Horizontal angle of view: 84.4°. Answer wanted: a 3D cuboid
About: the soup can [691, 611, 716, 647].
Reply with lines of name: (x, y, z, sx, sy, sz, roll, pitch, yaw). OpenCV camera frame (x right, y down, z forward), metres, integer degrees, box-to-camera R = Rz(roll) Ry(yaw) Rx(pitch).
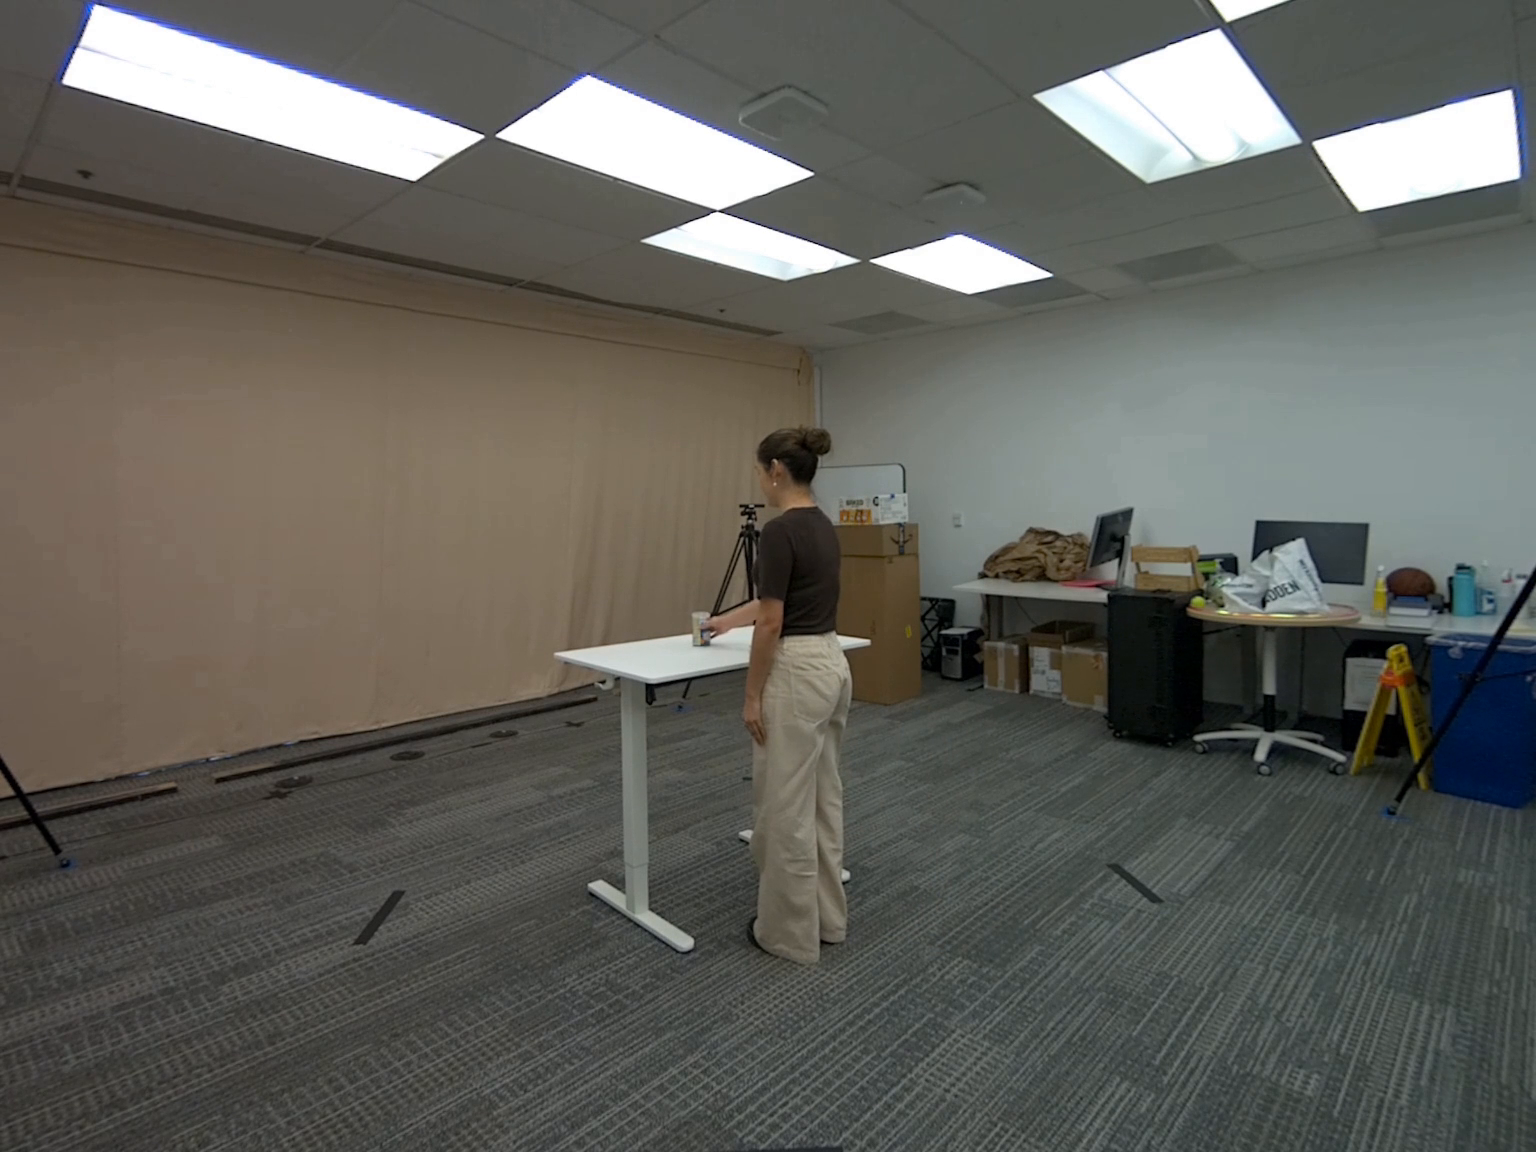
soup can: (-0.237, 0.195, 3.069, 0.067, 0.121, 0.067, -1, 3, -2)
